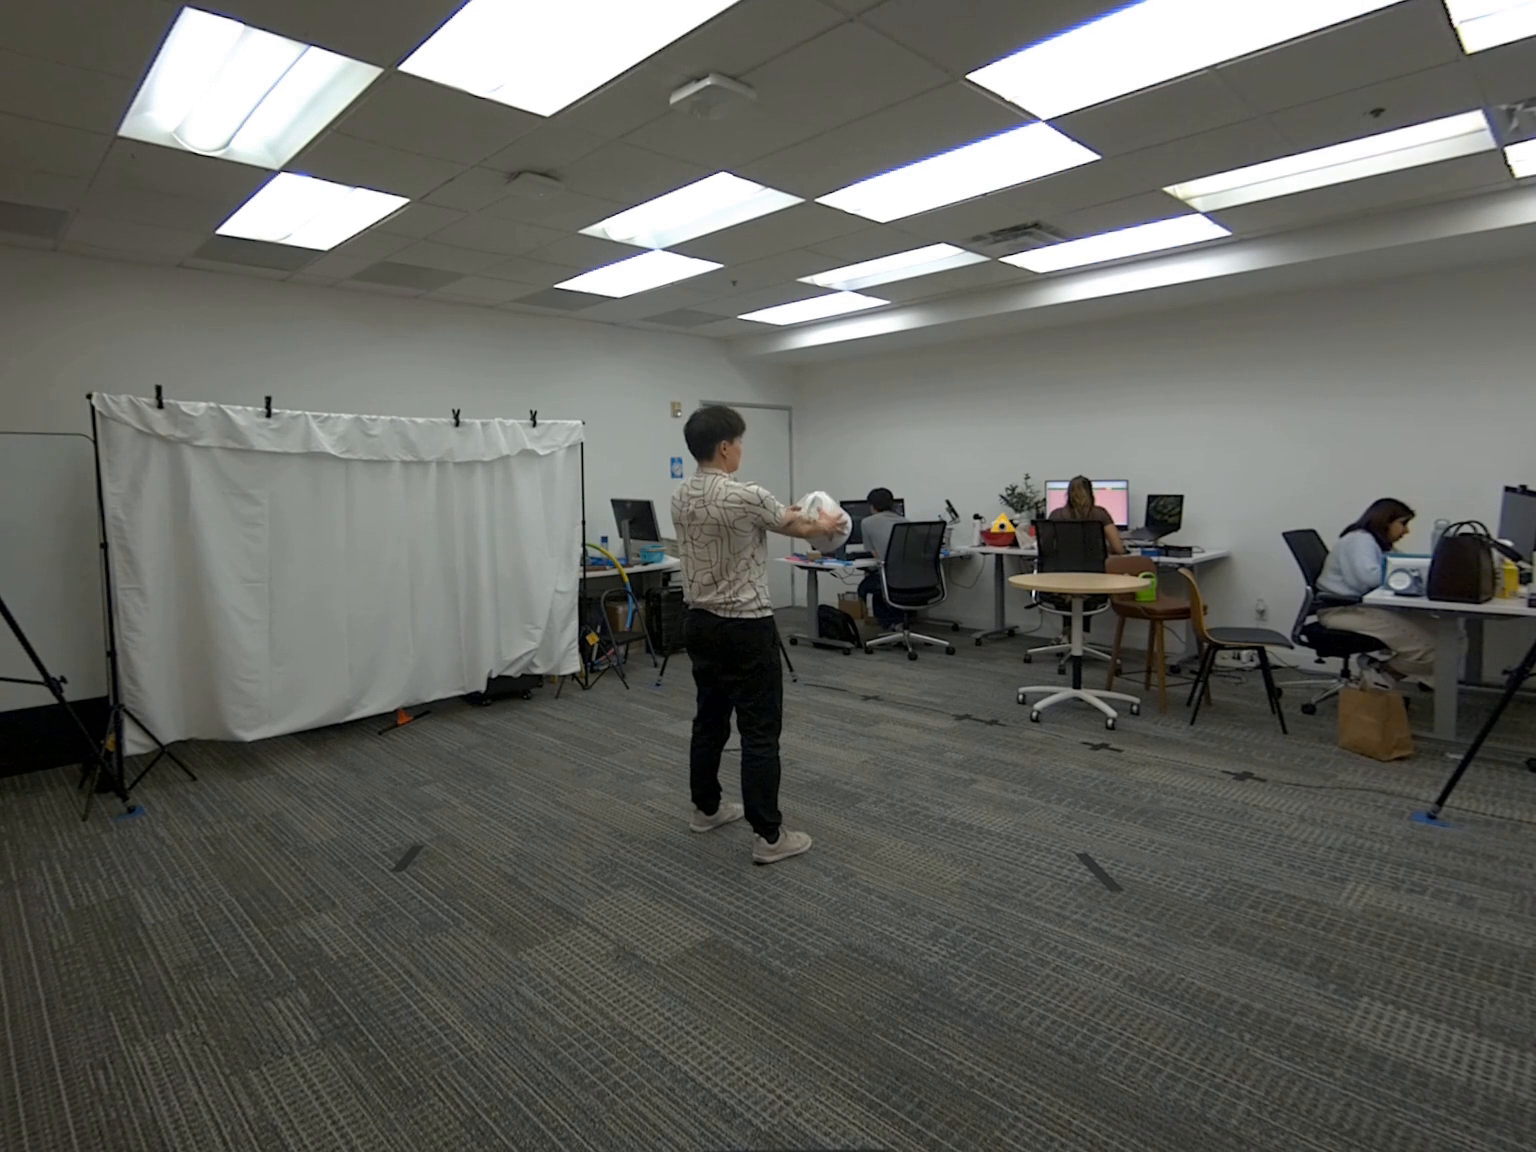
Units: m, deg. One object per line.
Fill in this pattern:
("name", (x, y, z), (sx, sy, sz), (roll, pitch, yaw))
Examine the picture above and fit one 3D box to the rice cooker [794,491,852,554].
("rice cooker", (0.221, -0.234, 3.665), (0.224, 0.222, 0.224), (8, -21, 47))
